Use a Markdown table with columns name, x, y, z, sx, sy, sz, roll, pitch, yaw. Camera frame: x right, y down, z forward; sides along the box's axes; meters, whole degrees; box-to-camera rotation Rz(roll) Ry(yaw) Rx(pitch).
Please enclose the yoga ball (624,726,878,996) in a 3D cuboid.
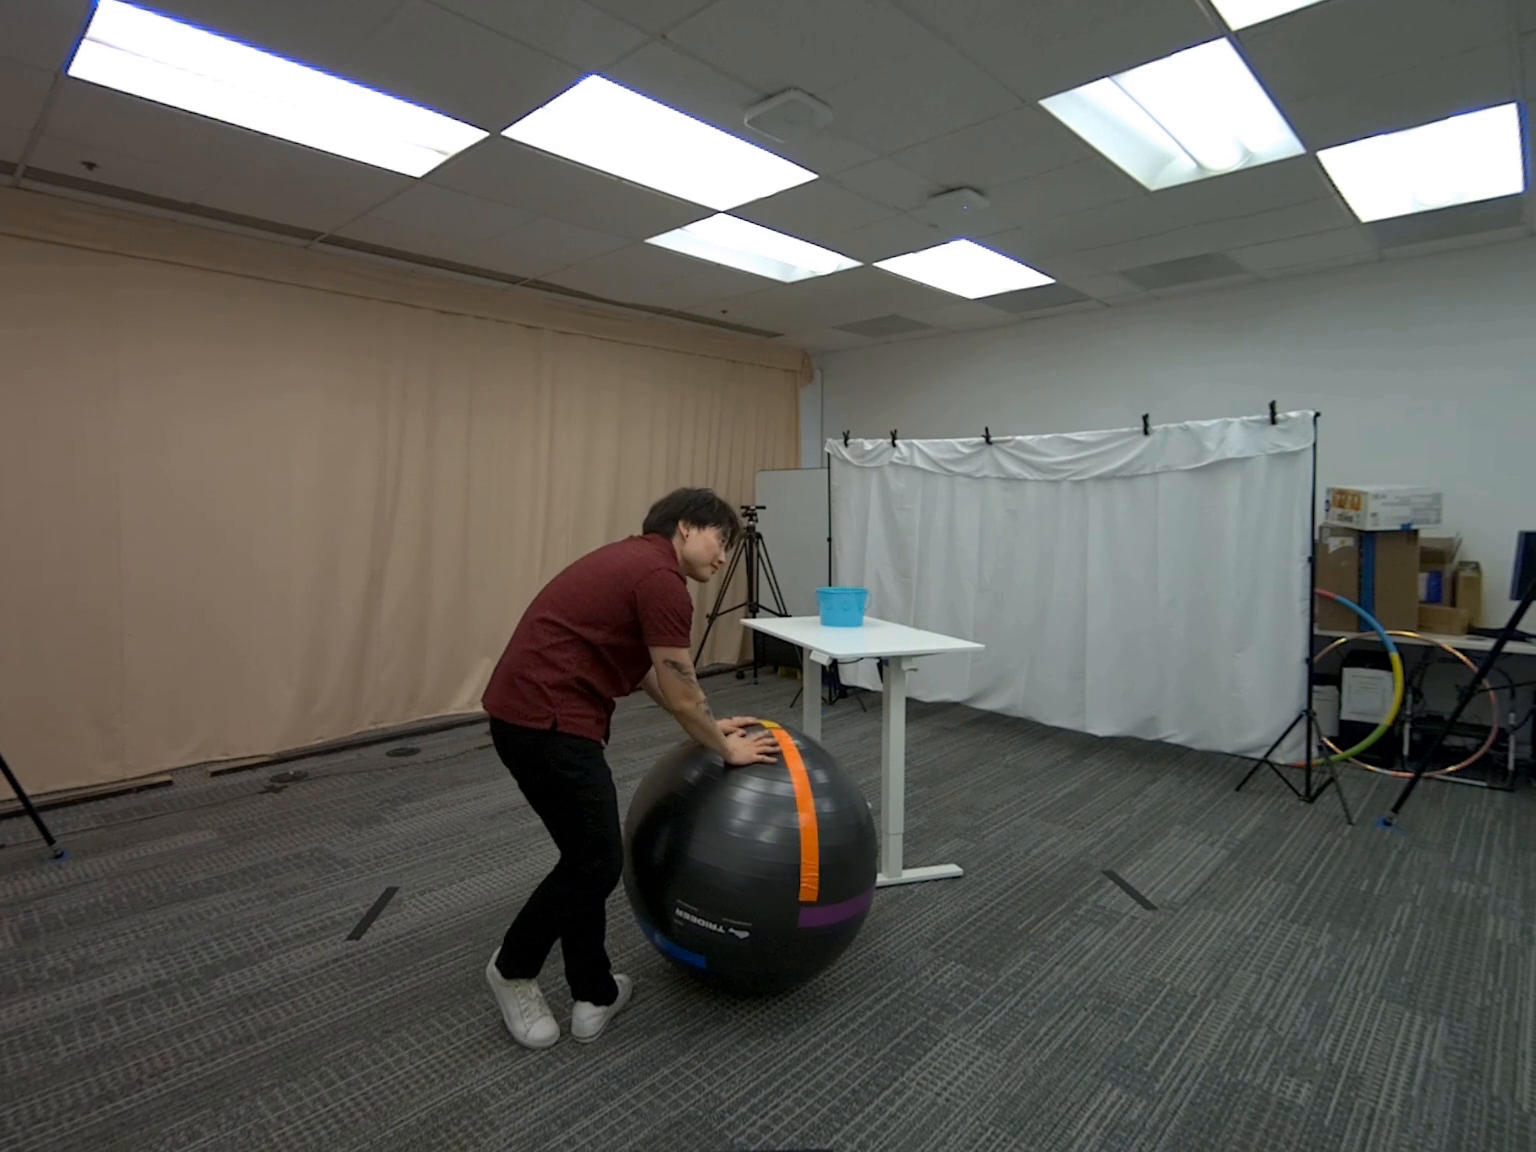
| name | x | y | z | sx | sy | sz | roll | pitch | yaw |
| --- | --- | --- | --- | --- | --- | --- | --- | --- | --- |
| yoga ball | -0.053 | 0.822 | 2.499 | 0.757 | 0.756 | 0.760 | 0 | 4 | -2 |
